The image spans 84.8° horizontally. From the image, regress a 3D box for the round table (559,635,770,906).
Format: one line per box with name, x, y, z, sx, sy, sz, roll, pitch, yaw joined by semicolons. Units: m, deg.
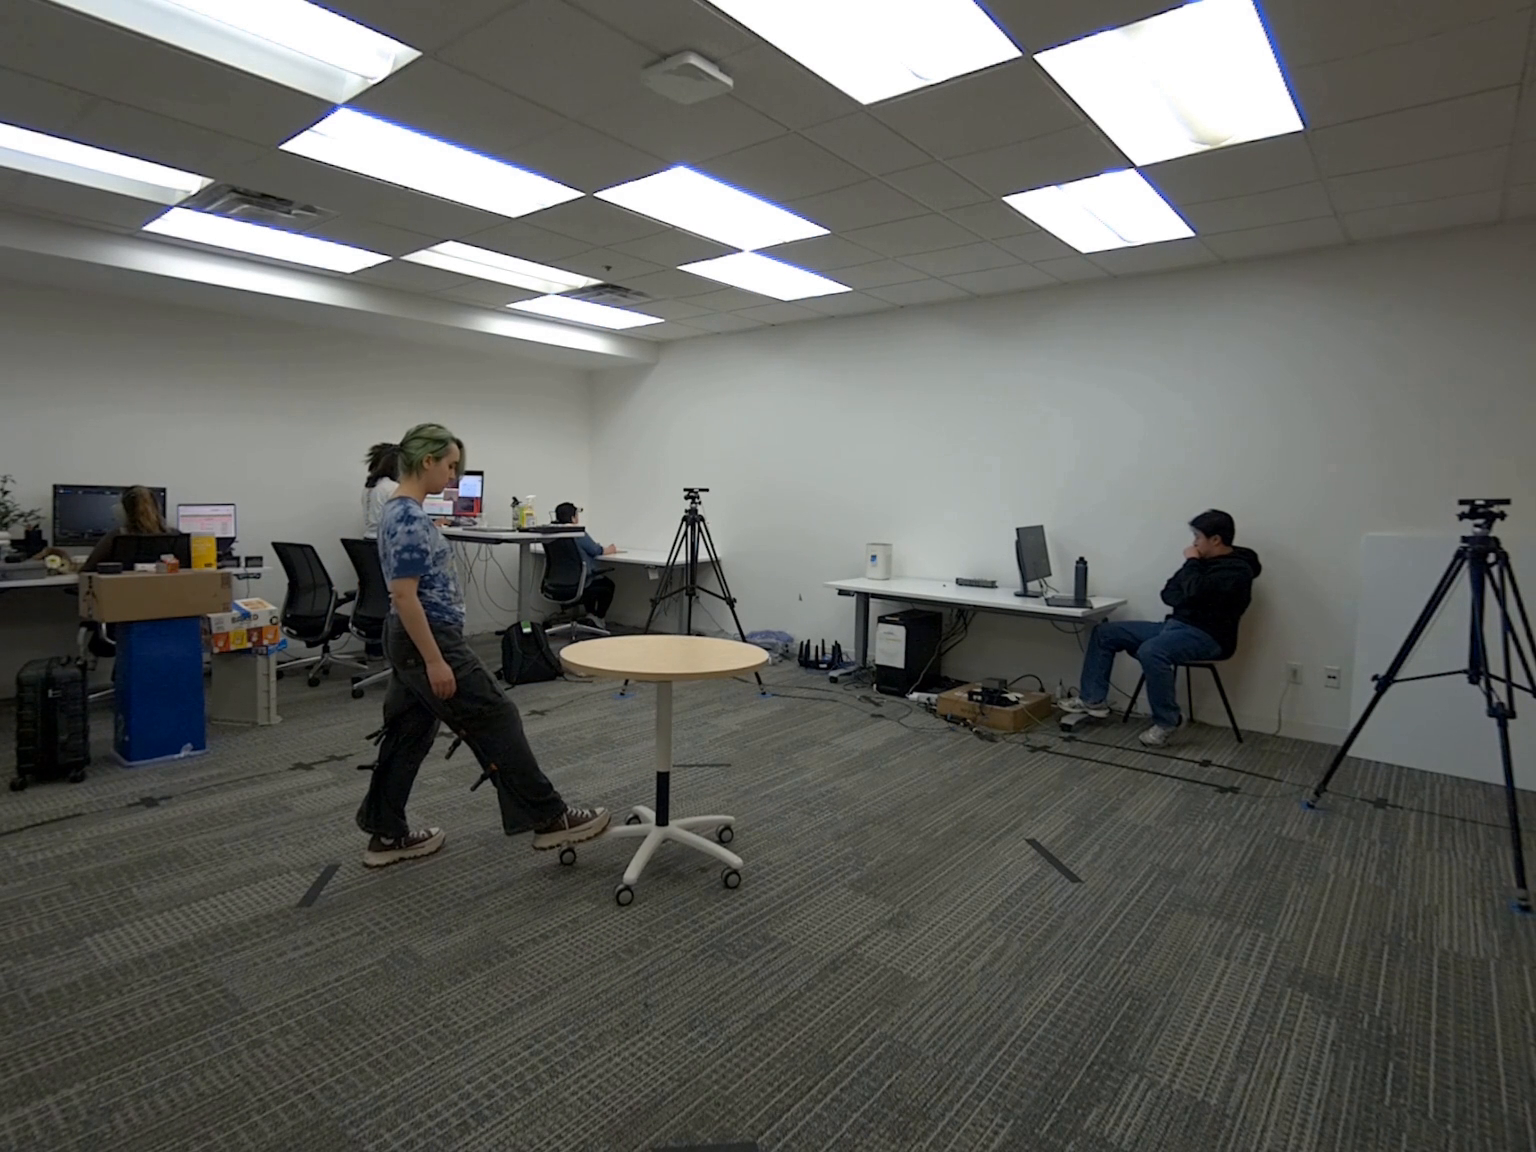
round table;-0.396;0.675;3.146;0.763;0.792;0.767;1;4;-2
